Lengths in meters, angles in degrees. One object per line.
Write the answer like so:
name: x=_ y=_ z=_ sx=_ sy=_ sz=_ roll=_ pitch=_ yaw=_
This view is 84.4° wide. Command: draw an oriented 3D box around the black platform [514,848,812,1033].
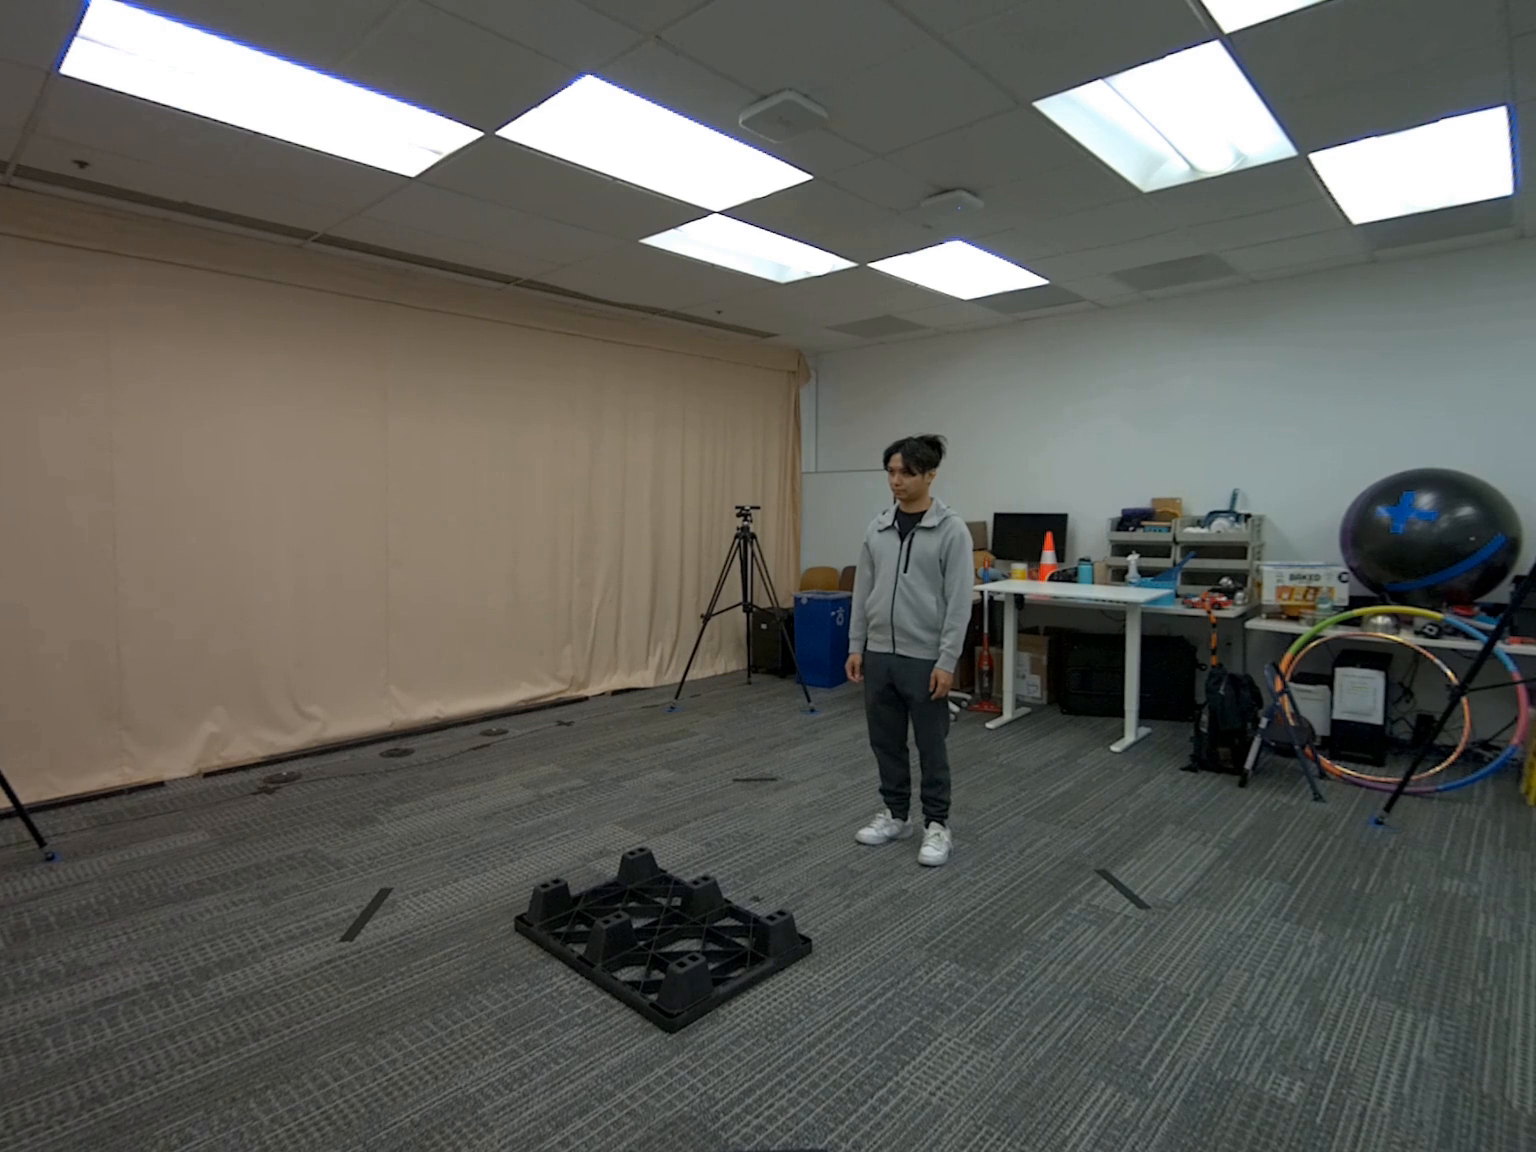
black platform: x=-0.342 y=1.104 z=2.699 sx=0.833 sy=0.143 sz=0.587 roll=4 pitch=7 yaw=44
